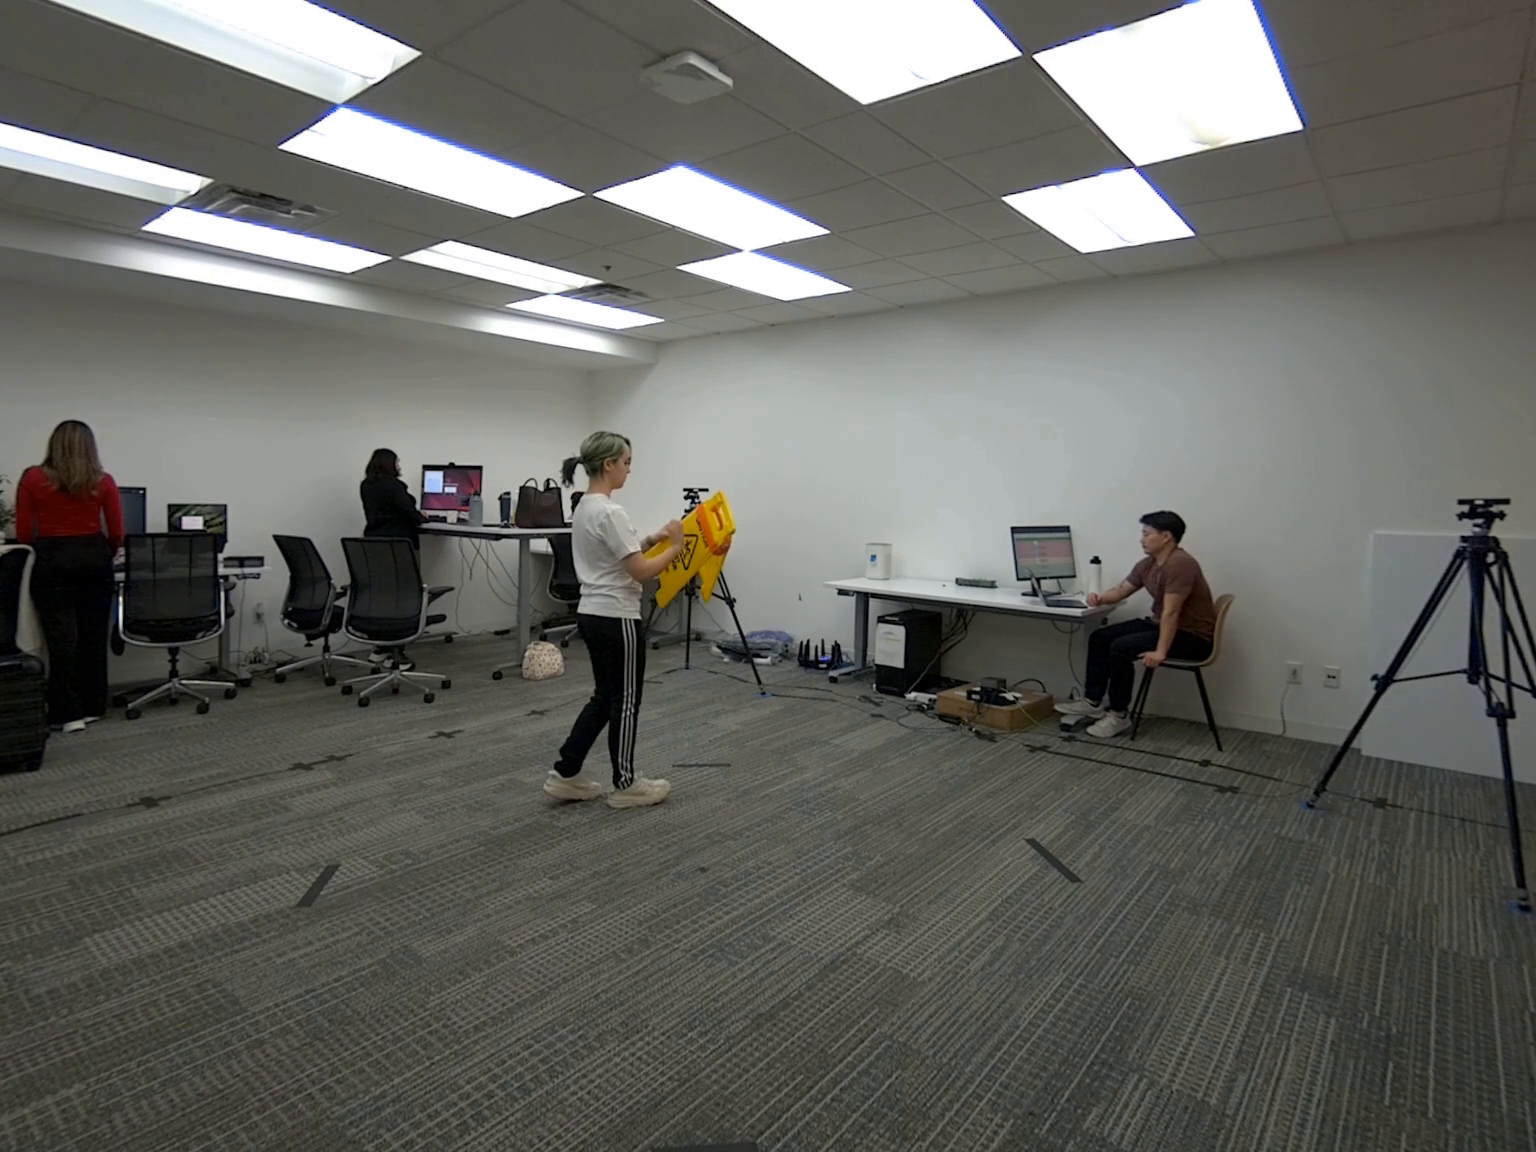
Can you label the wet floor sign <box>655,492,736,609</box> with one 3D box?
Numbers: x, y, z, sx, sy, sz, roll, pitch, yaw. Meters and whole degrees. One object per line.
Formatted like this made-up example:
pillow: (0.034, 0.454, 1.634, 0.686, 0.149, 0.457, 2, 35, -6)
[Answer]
wet floor sign: (-0.321, -0.133, 3.811, 0.282, 0.290, 0.645, -5, -26, -32)
